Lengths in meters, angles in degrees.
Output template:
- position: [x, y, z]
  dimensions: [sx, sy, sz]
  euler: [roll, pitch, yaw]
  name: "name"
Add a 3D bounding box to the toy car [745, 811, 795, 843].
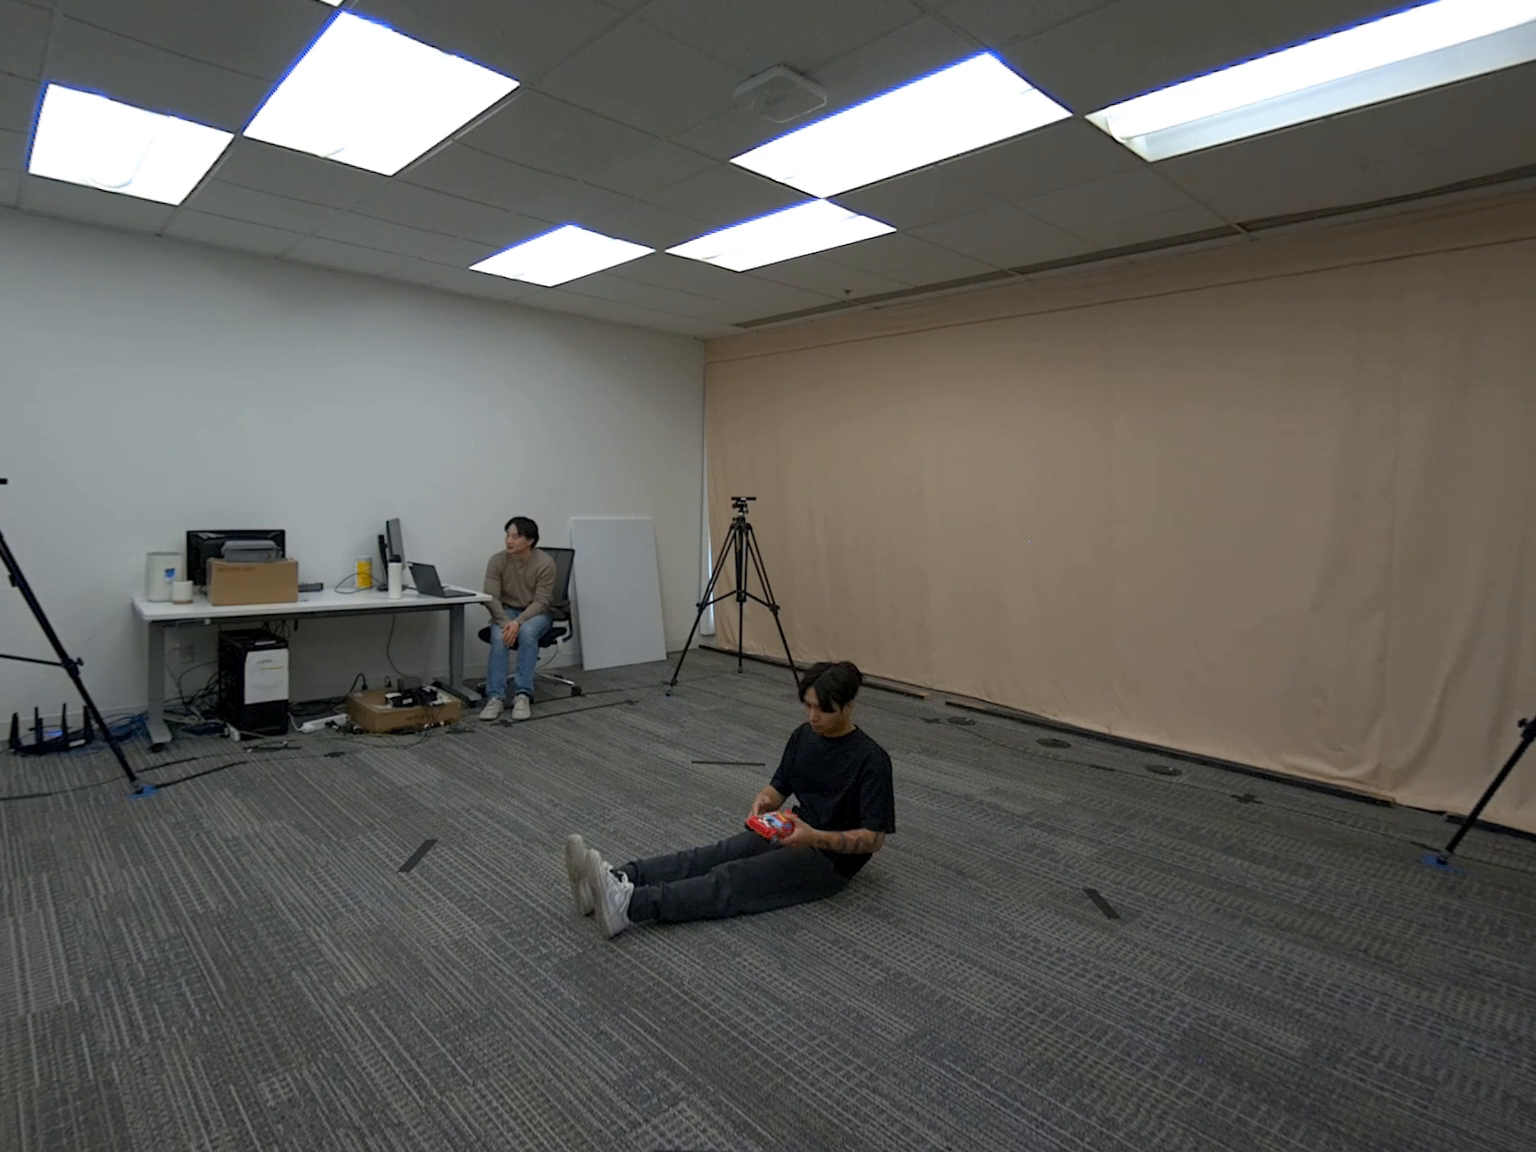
- position: [0.030, 0.843, 2.811]
  dimensions: [0.134, 0.083, 0.248]
  euler: [19, 8, 35]
  name: "toy car"
